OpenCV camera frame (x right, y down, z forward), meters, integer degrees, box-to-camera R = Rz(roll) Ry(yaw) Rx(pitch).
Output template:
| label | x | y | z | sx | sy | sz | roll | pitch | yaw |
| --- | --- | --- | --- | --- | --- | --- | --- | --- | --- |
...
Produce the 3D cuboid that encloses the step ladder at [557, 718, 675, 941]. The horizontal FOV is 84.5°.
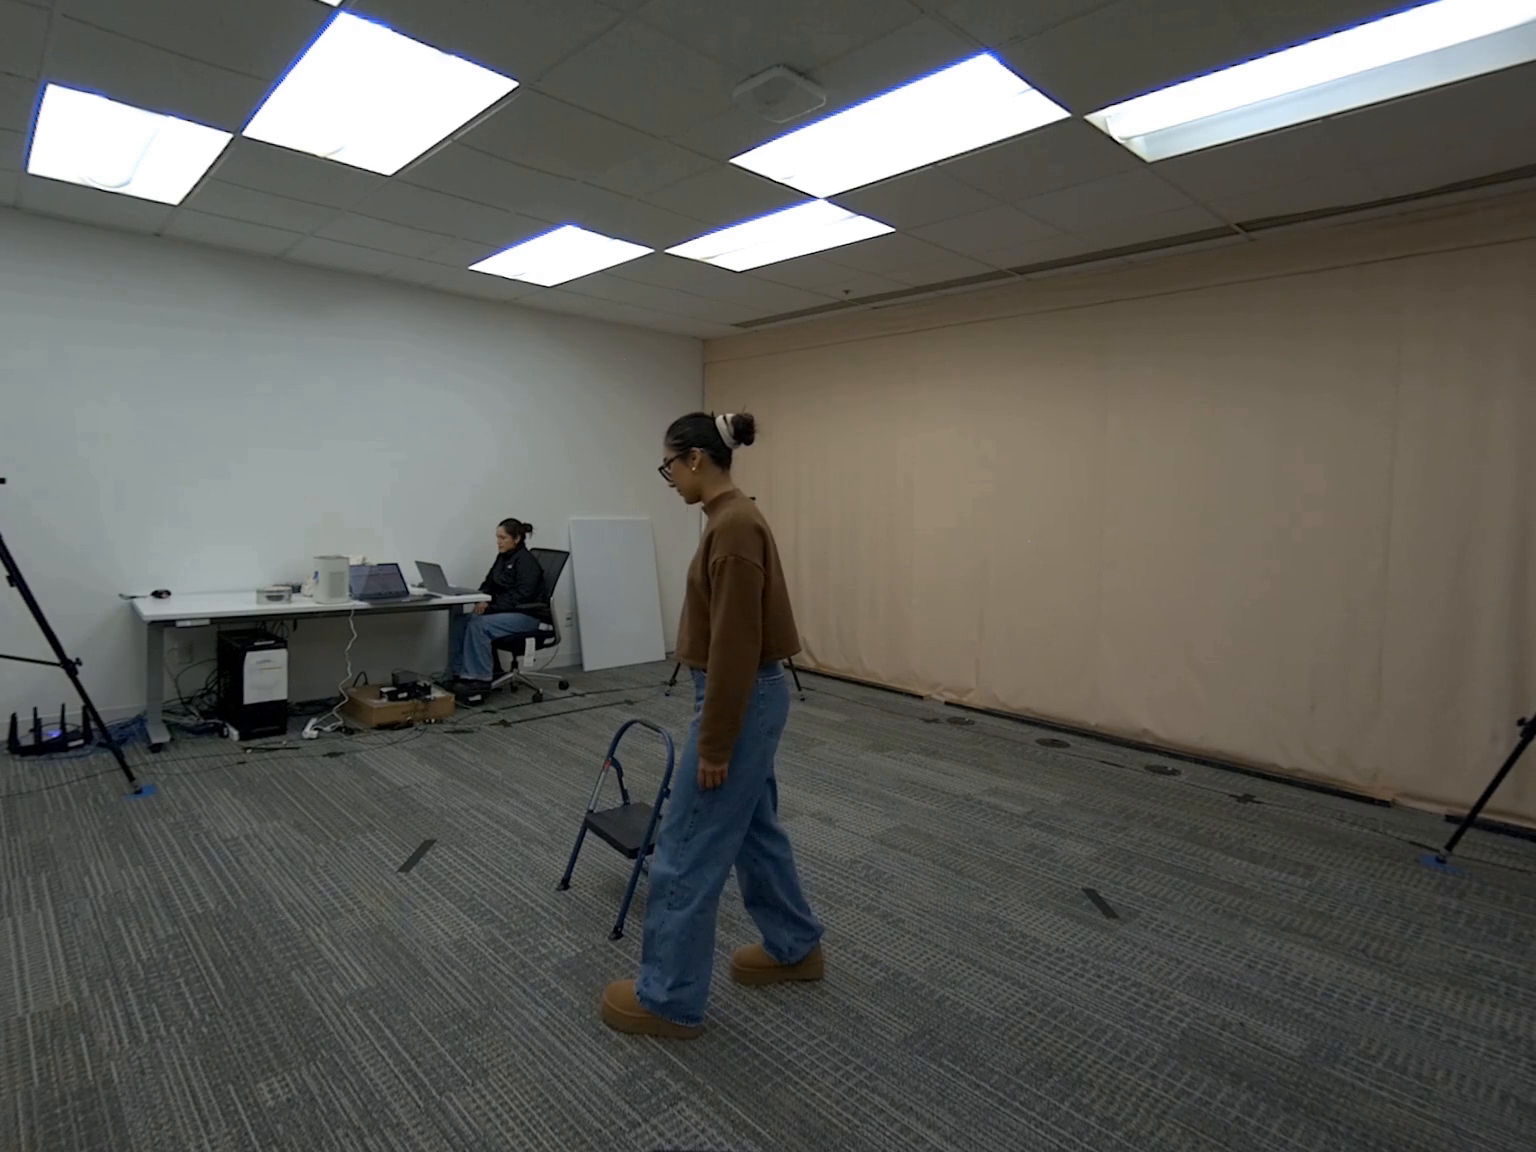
| label | x | y | z | sx | sy | sz | roll | pitch | yaw |
| --- | --- | --- | --- | --- | --- | --- | --- | --- | --- |
| step ladder | -0.475 | 0.816 | 2.885 | 0.341 | 0.604 | 0.441 | -1 | 5 | -38 |
